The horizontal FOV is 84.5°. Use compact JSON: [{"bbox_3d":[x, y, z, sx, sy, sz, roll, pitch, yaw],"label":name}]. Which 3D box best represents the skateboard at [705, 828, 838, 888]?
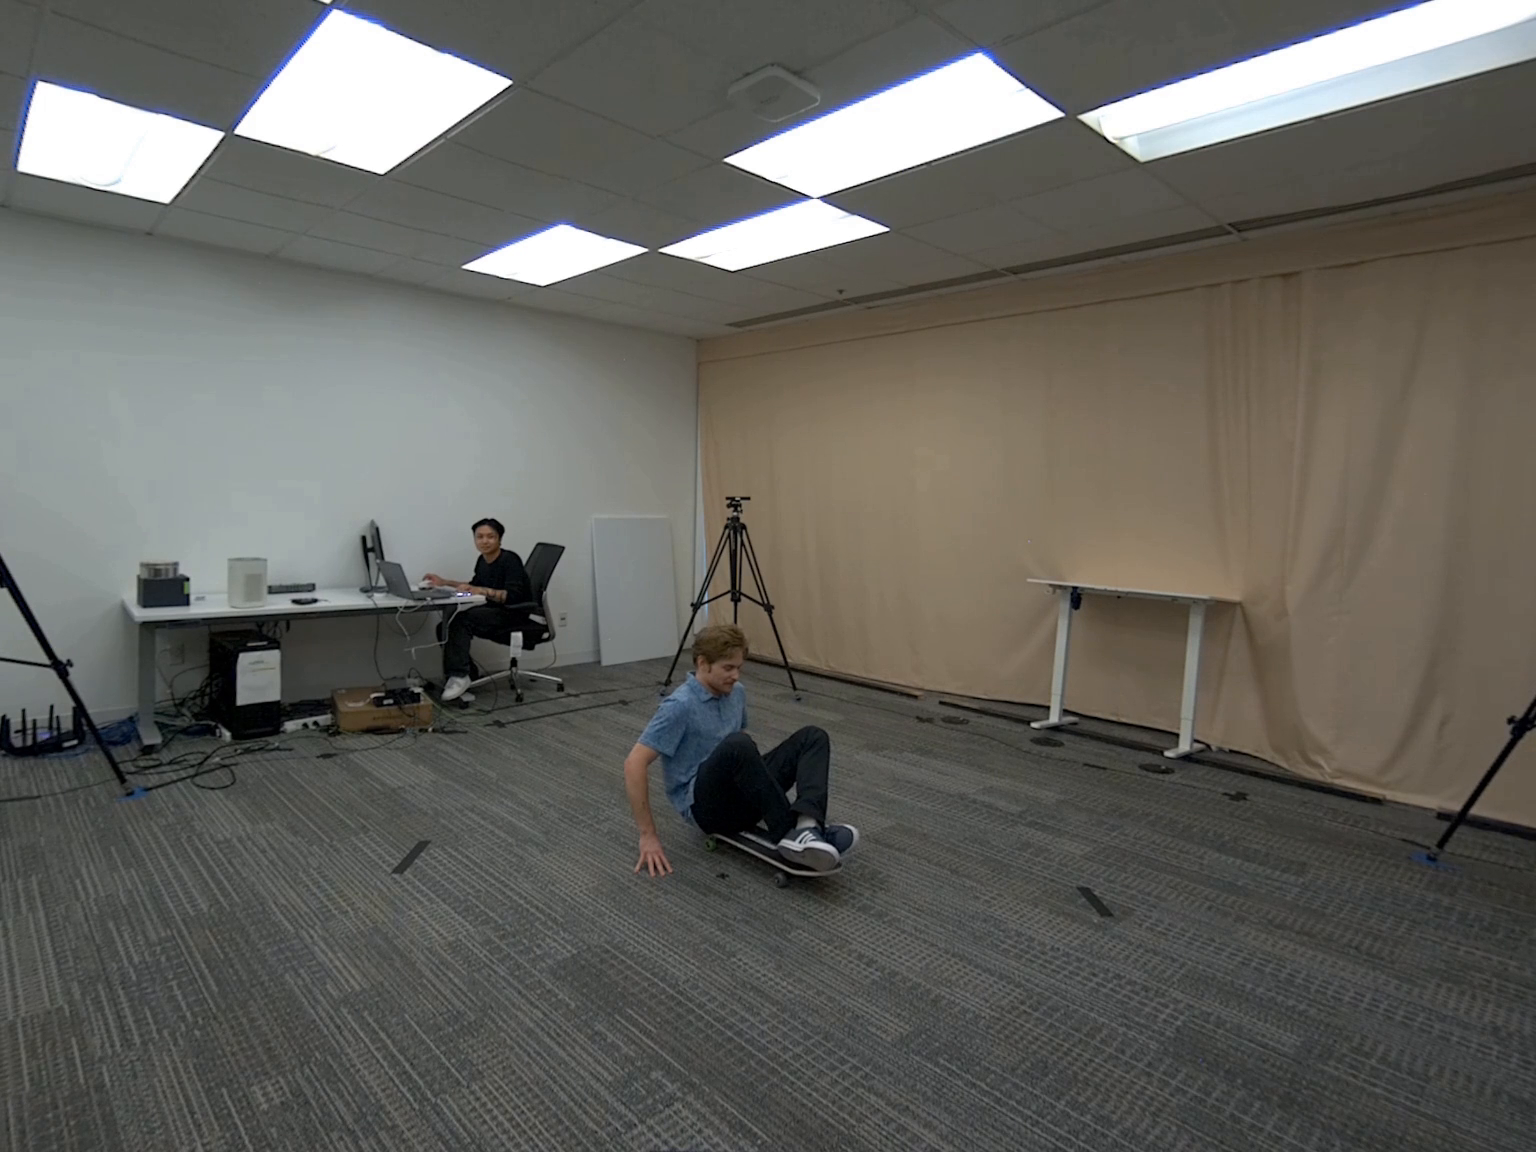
[{"bbox_3d":[-0.030,1.045,3.225,0.189,0.110,0.805,0,4,-43],"label":"skateboard"}]
